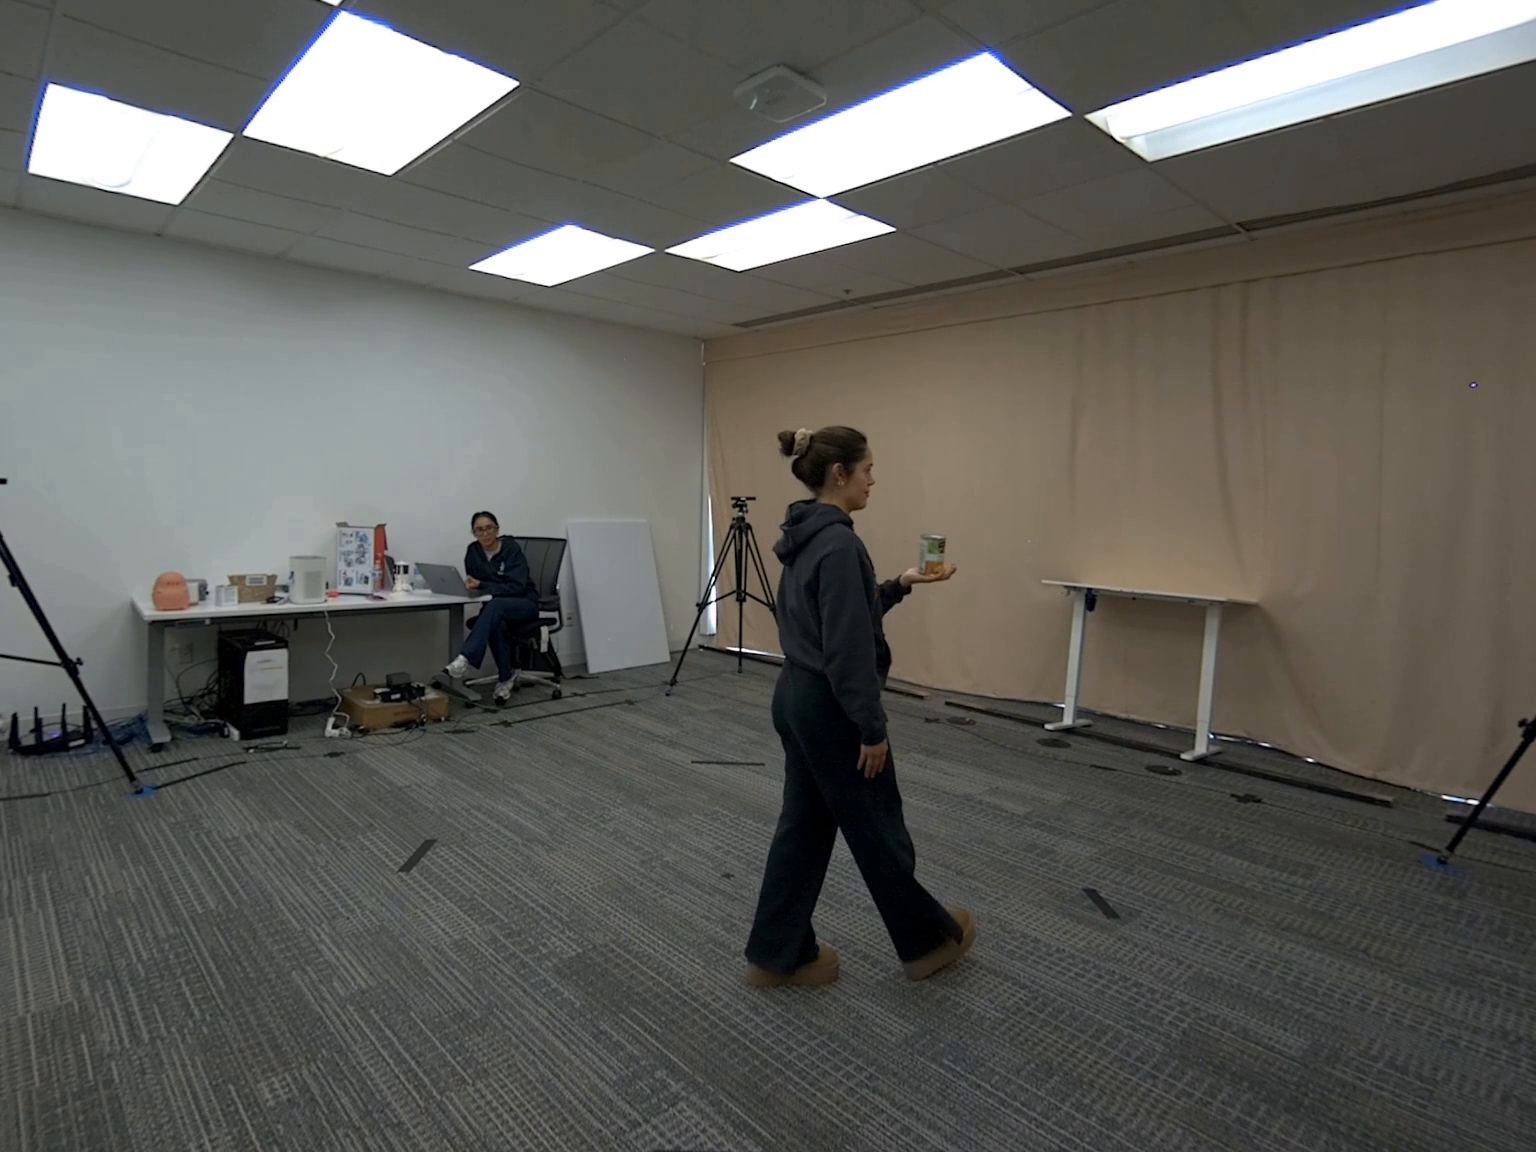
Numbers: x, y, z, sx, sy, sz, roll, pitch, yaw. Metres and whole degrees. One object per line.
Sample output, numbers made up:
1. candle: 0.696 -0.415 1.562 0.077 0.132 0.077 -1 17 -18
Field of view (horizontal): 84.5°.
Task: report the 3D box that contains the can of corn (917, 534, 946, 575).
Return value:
1. can of corn: 0.469 -0.066 2.473 0.074 0.110 0.075 2 11 -2
